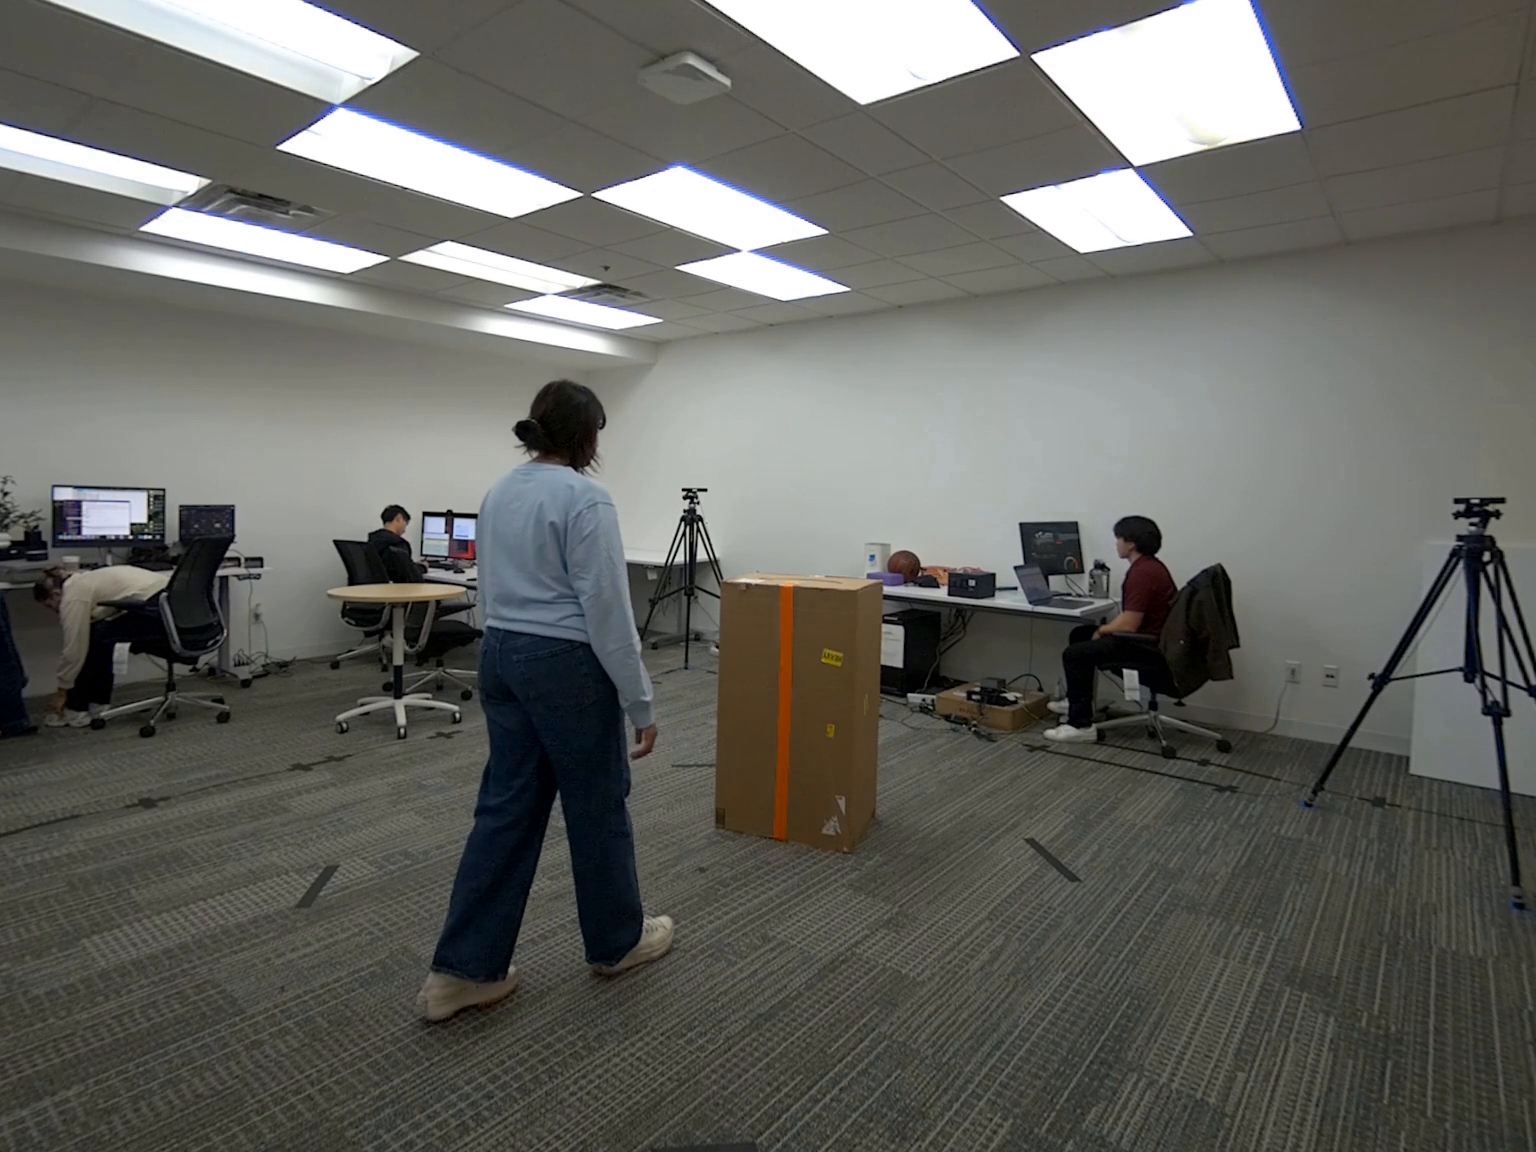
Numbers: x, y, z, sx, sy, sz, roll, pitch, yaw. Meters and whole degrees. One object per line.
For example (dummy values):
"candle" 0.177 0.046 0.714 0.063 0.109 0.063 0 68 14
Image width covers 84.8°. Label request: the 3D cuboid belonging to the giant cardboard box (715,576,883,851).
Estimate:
"giant cardboard box" 0.129 0.522 3.549 0.599 1.024 0.437 3 4 24
